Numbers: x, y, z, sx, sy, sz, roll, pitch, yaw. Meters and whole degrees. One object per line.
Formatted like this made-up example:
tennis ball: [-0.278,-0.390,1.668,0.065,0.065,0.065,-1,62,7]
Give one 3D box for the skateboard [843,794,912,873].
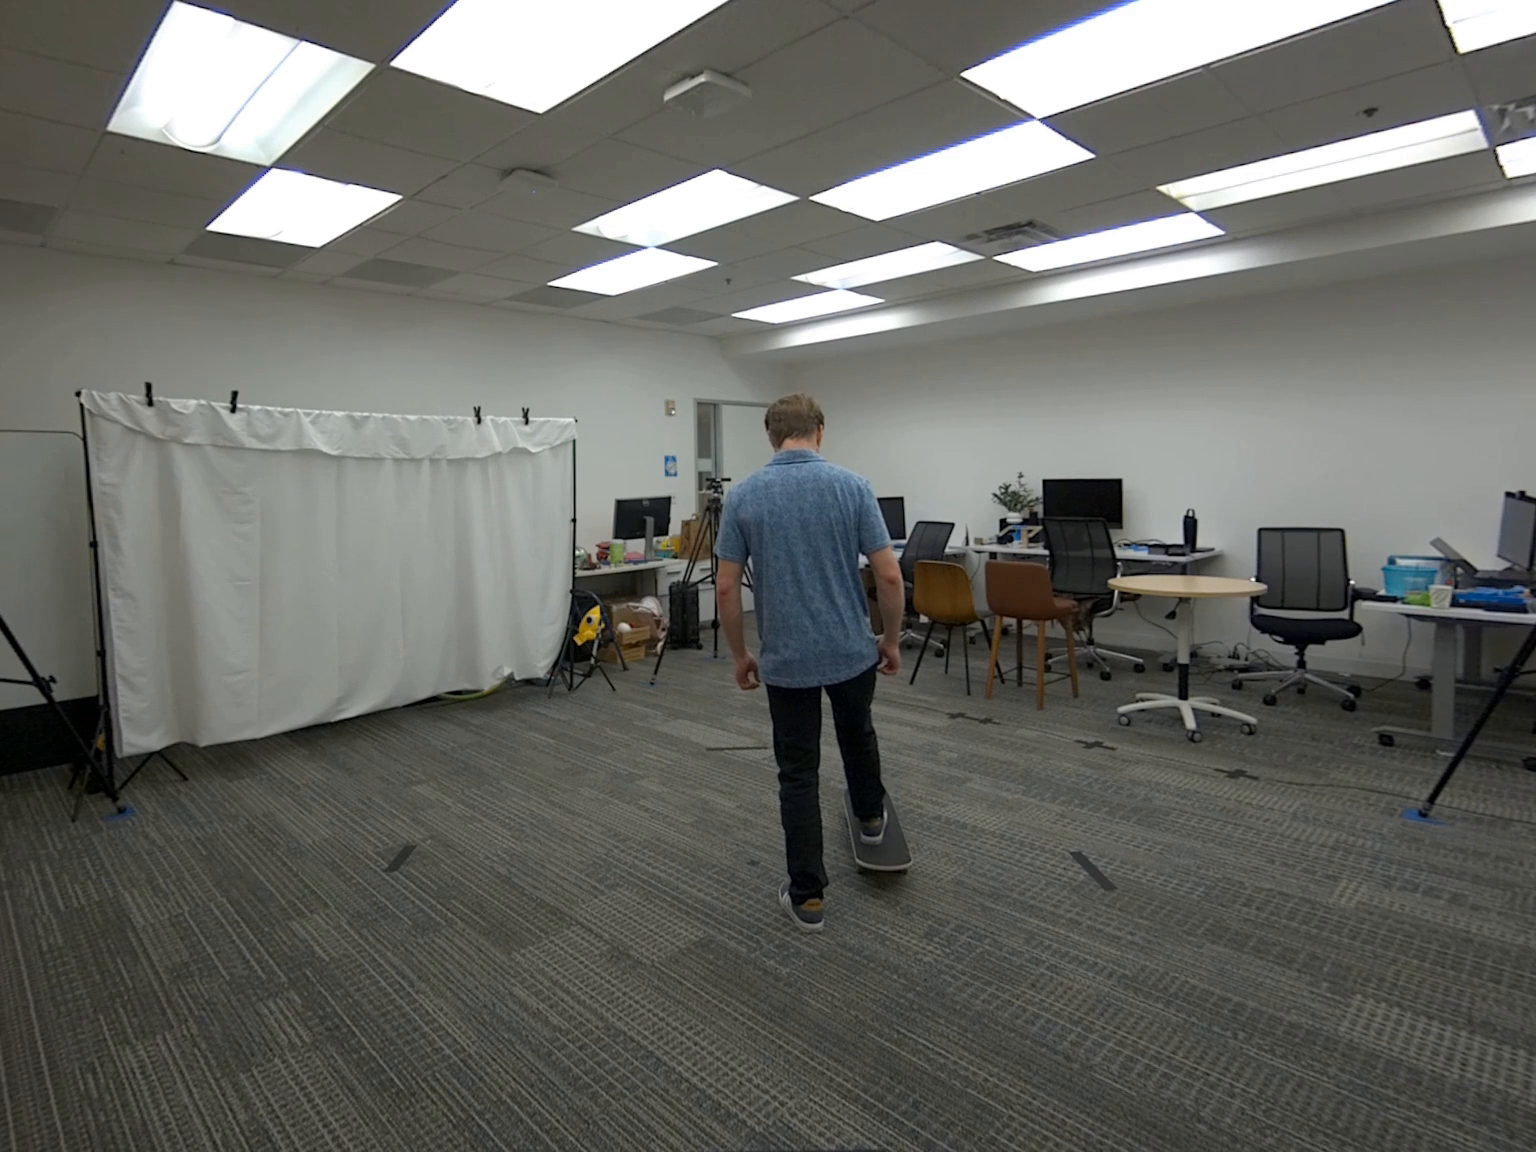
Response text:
skateboard: [0.400,0.960,3.208,0.194,0.110,0.787,-3,7,1]
